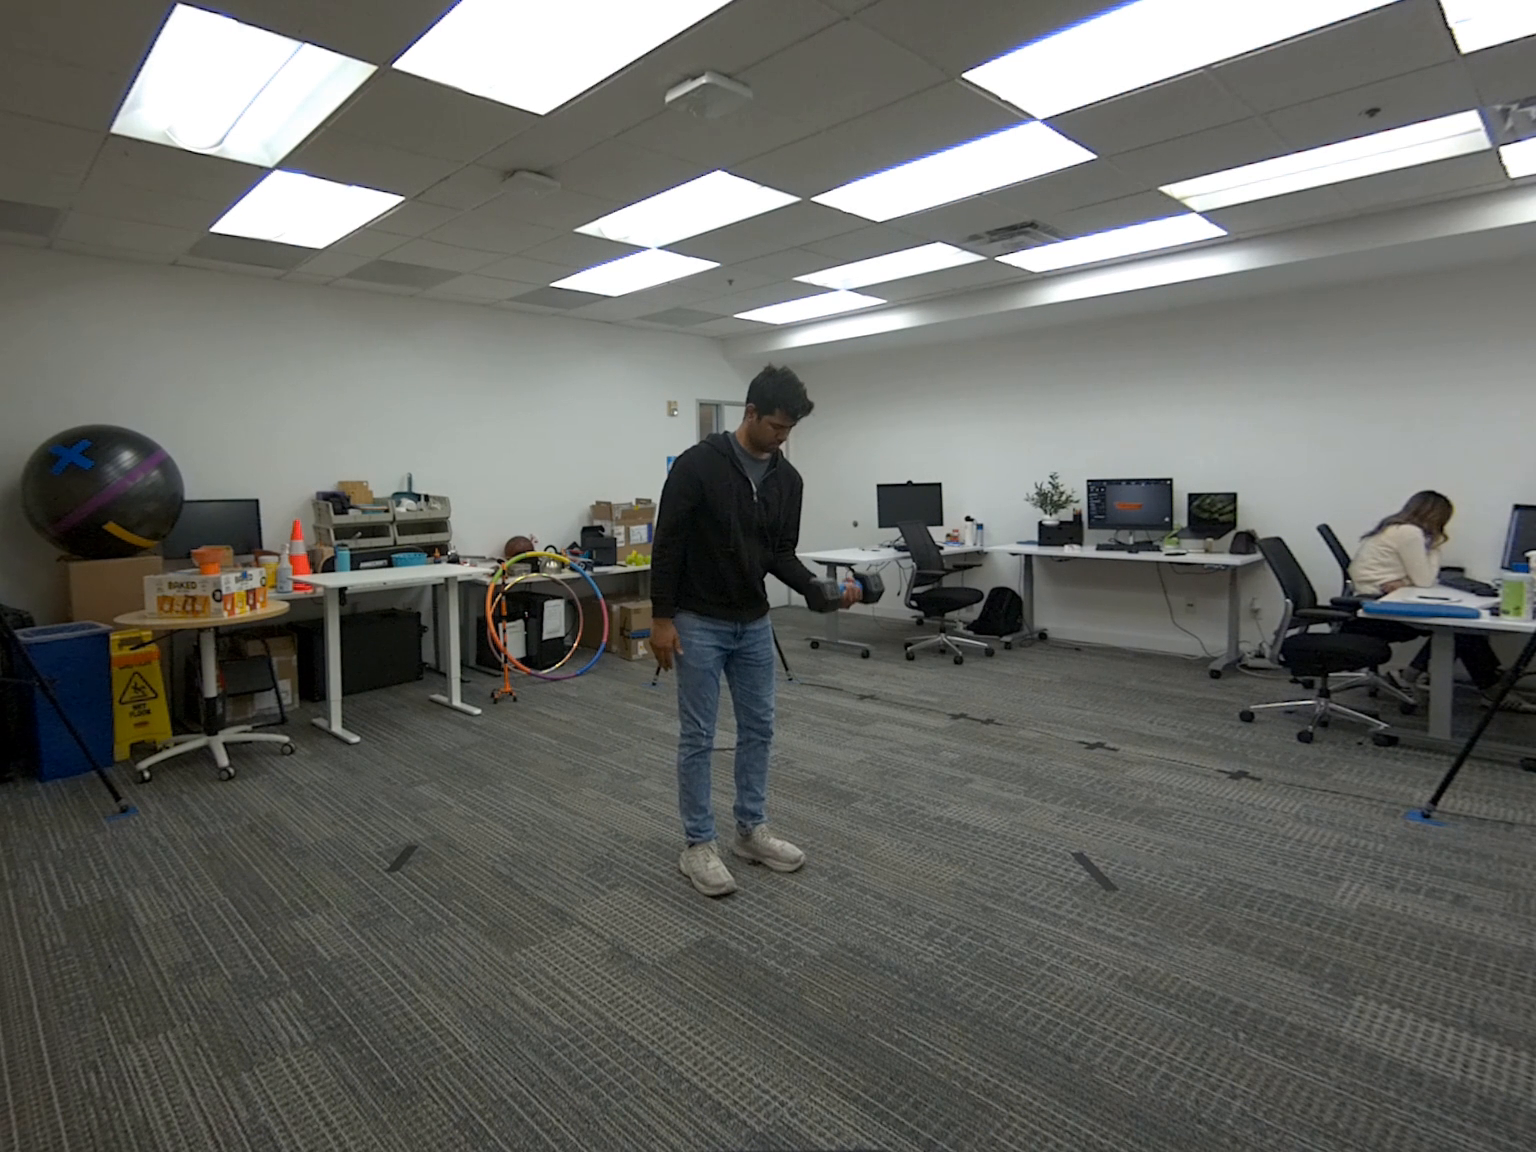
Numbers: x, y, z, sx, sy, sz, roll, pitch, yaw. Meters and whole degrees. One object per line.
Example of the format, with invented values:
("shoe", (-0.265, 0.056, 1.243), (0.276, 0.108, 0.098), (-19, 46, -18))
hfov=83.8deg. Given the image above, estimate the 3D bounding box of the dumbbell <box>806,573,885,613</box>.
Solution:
("dumbbell", (0.249, 0.042, 2.893), (0.286, 0.108, 0.127), (-9, 14, -37))
